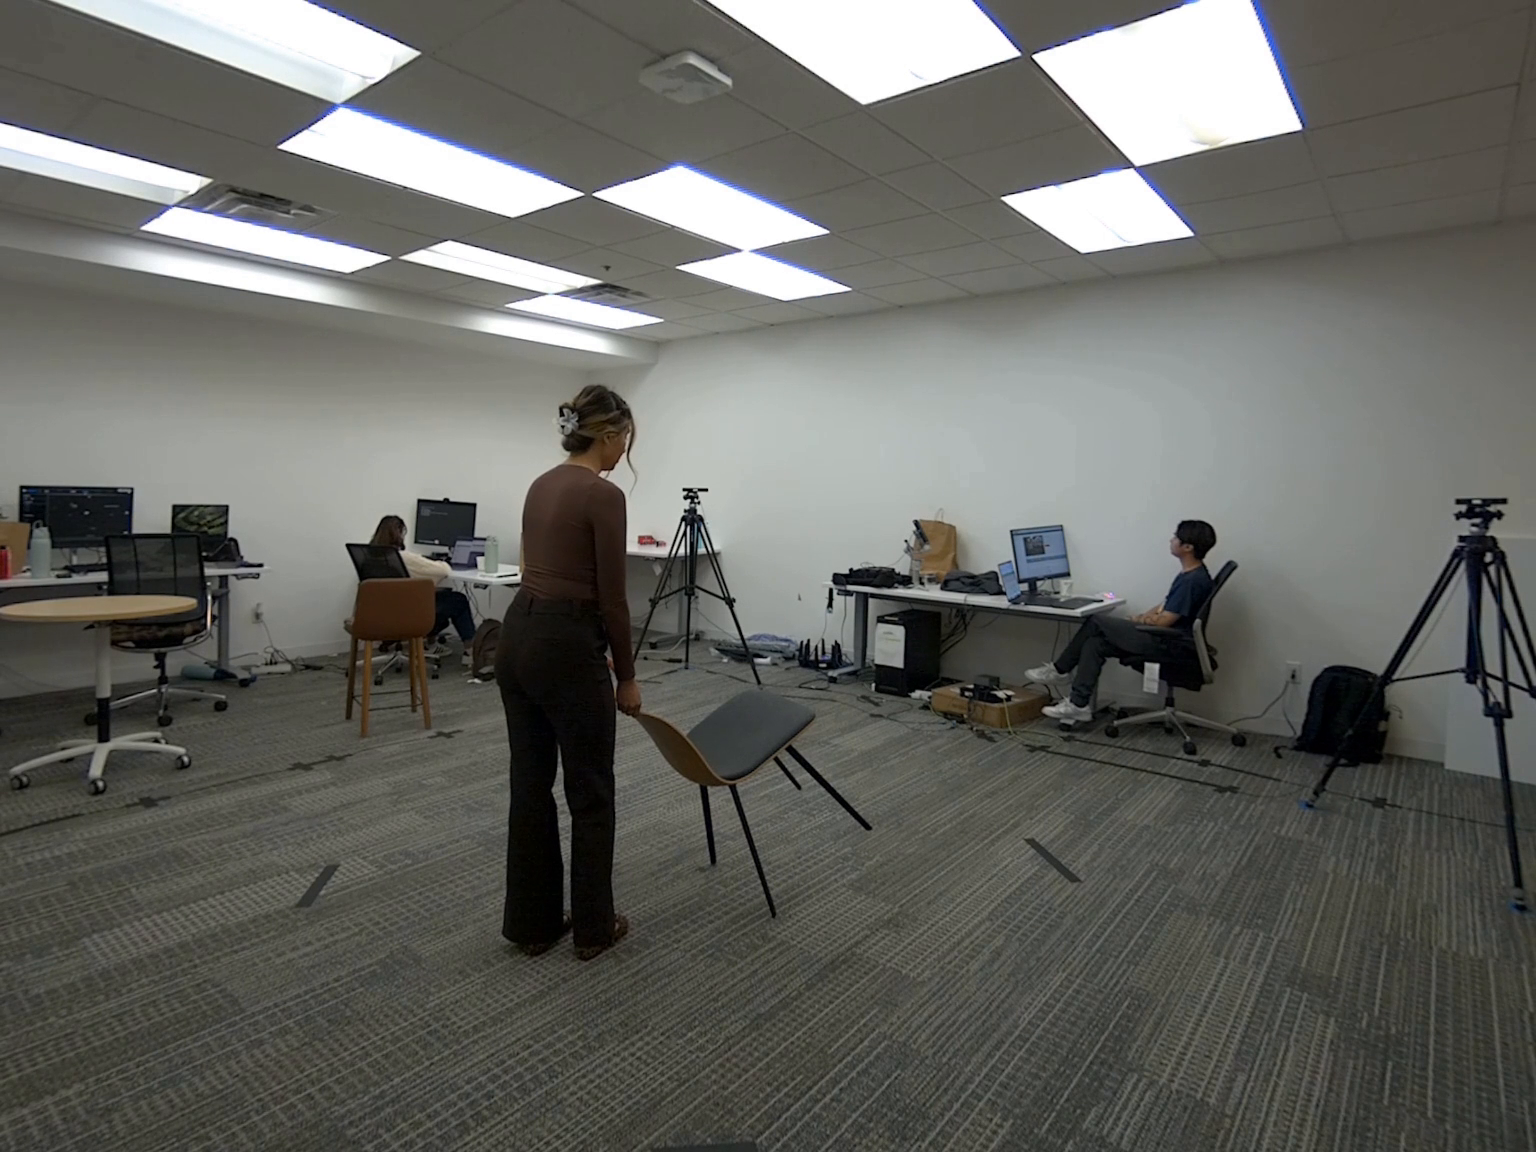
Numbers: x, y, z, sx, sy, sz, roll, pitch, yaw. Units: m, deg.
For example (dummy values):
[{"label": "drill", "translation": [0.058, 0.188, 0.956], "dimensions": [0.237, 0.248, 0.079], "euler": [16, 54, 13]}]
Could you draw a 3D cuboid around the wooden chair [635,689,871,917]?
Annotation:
[{"label": "wooden chair", "translation": [-0.111, 0.601, 2.923], "dimensions": [0.520, 0.857, 0.492], "euler": [-38, 20, -22]}]
